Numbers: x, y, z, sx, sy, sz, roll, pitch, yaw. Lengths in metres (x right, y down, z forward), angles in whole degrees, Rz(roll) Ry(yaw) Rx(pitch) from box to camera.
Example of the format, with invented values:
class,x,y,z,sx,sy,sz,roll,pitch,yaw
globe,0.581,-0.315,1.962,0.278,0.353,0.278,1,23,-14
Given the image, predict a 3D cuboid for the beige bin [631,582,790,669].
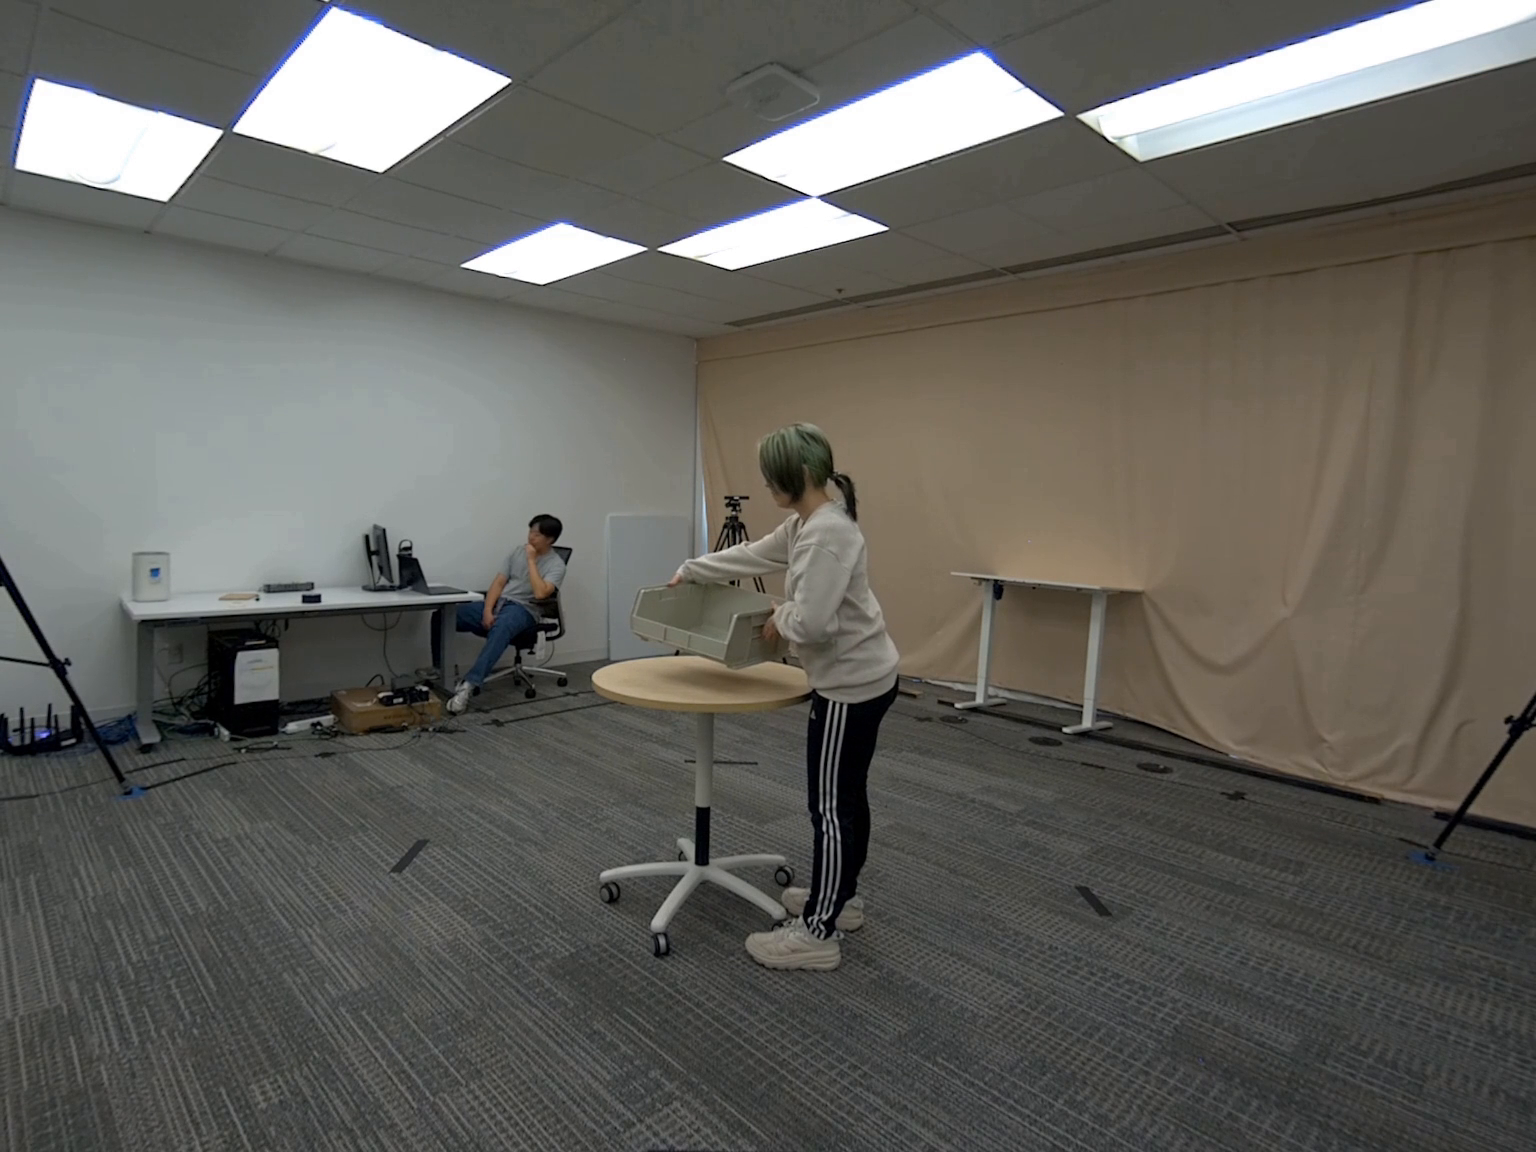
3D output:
class,x,y,z,sx,sy,sz,roll,pitch,yaw
beige bin,-0.187,0.155,2.794,0.434,0.188,0.369,12,10,37
